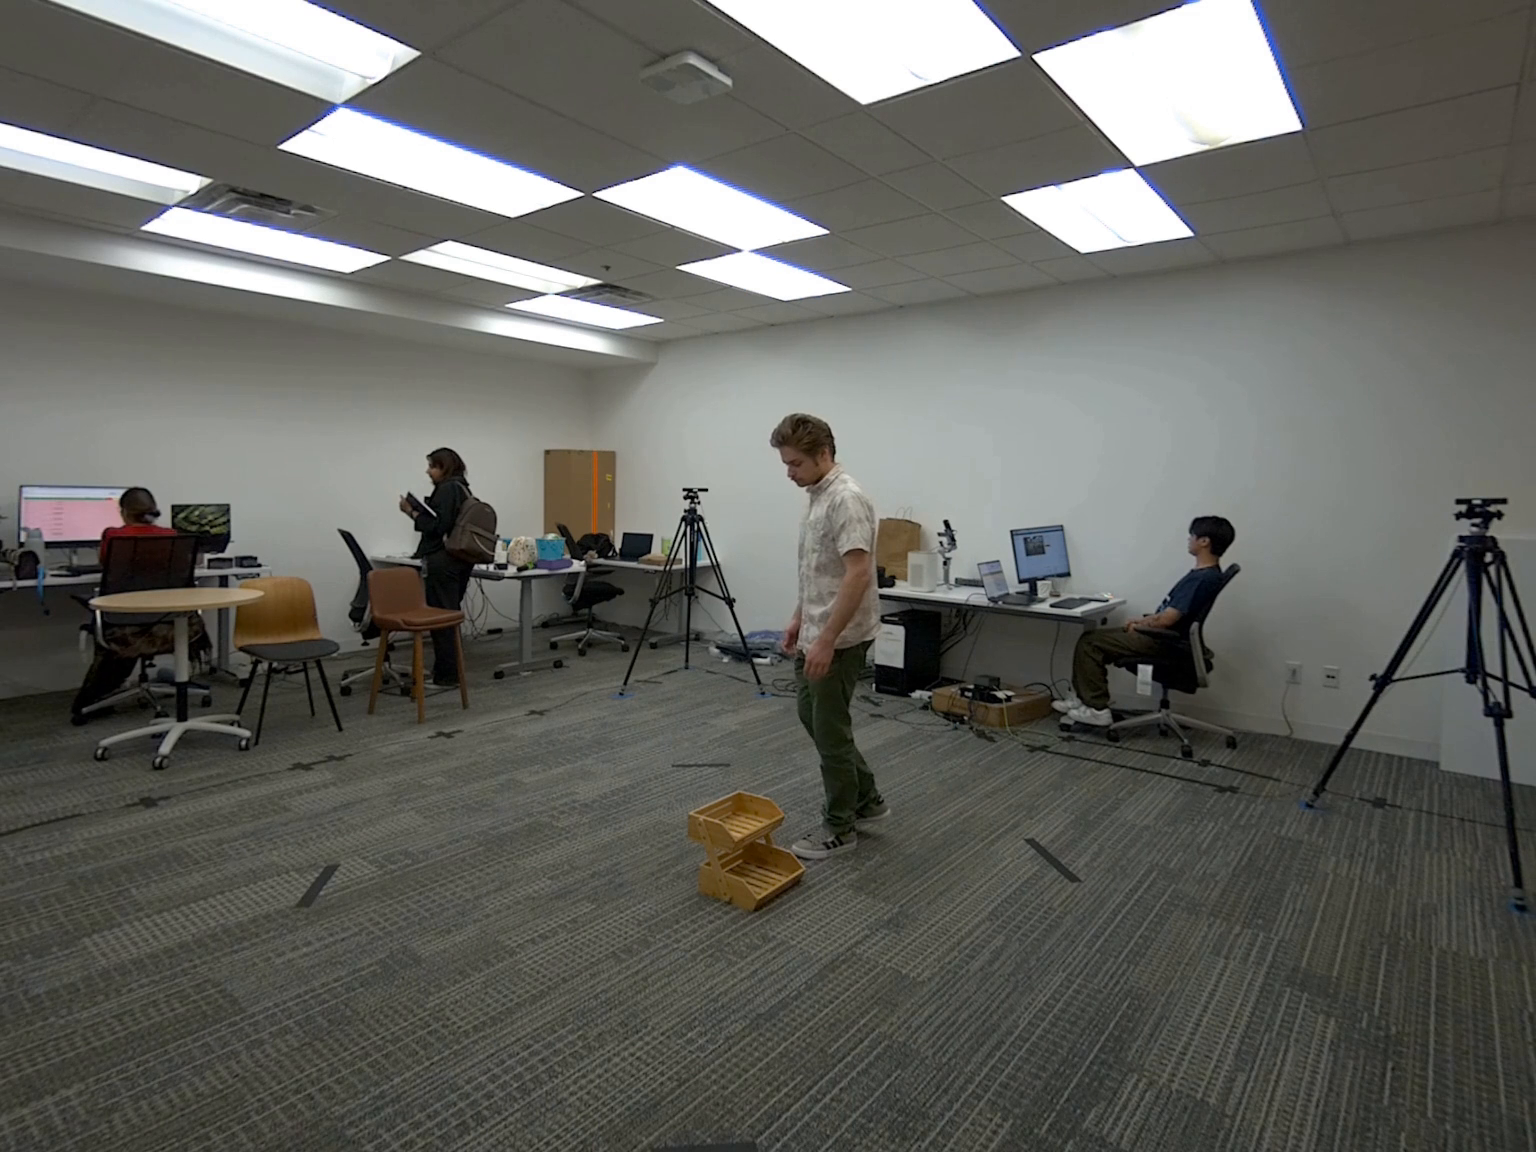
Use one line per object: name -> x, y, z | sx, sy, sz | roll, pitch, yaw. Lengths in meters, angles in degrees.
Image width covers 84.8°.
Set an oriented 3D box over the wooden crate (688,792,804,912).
wooden crate -> -0.078, 0.949, 2.991 | 0.312, 0.272, 0.315 | 3, 5, 36
